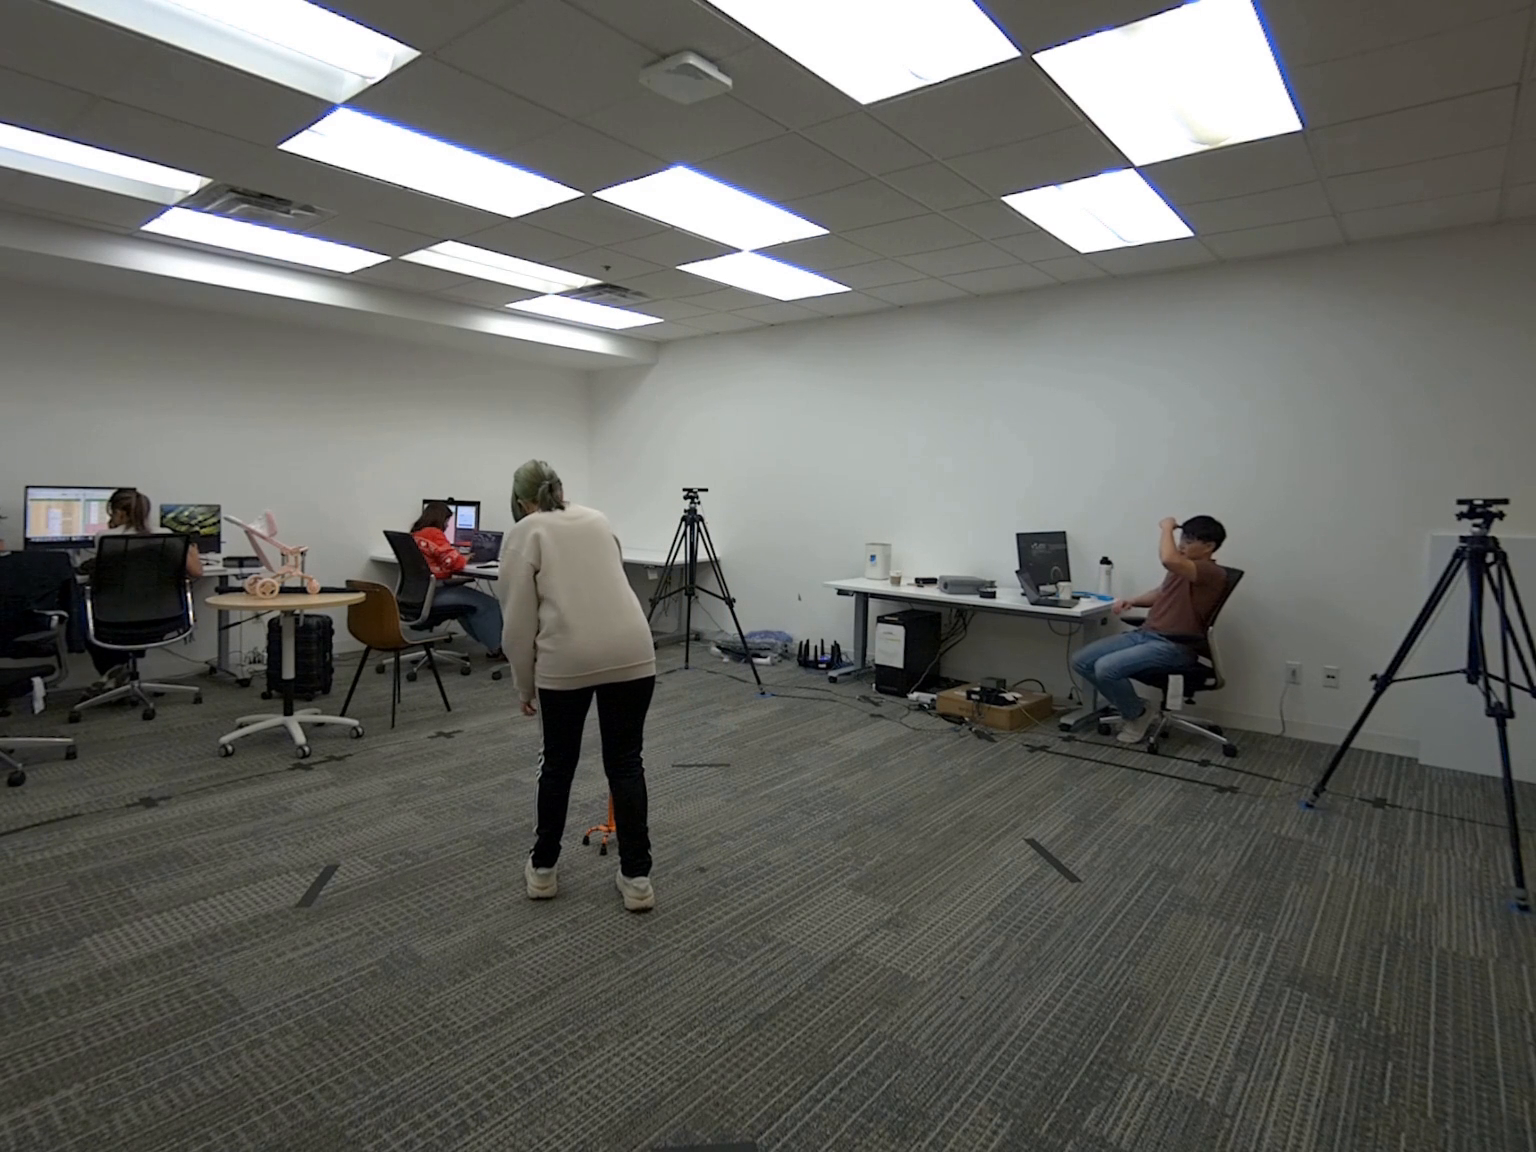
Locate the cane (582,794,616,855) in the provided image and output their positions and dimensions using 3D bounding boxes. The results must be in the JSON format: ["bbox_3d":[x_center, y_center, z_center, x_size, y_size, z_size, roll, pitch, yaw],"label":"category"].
[{"bbox_3d":[-0.602,0.585,3.305,0.200,0.905,0.157,0,4,-42],"label":"cane"}]
